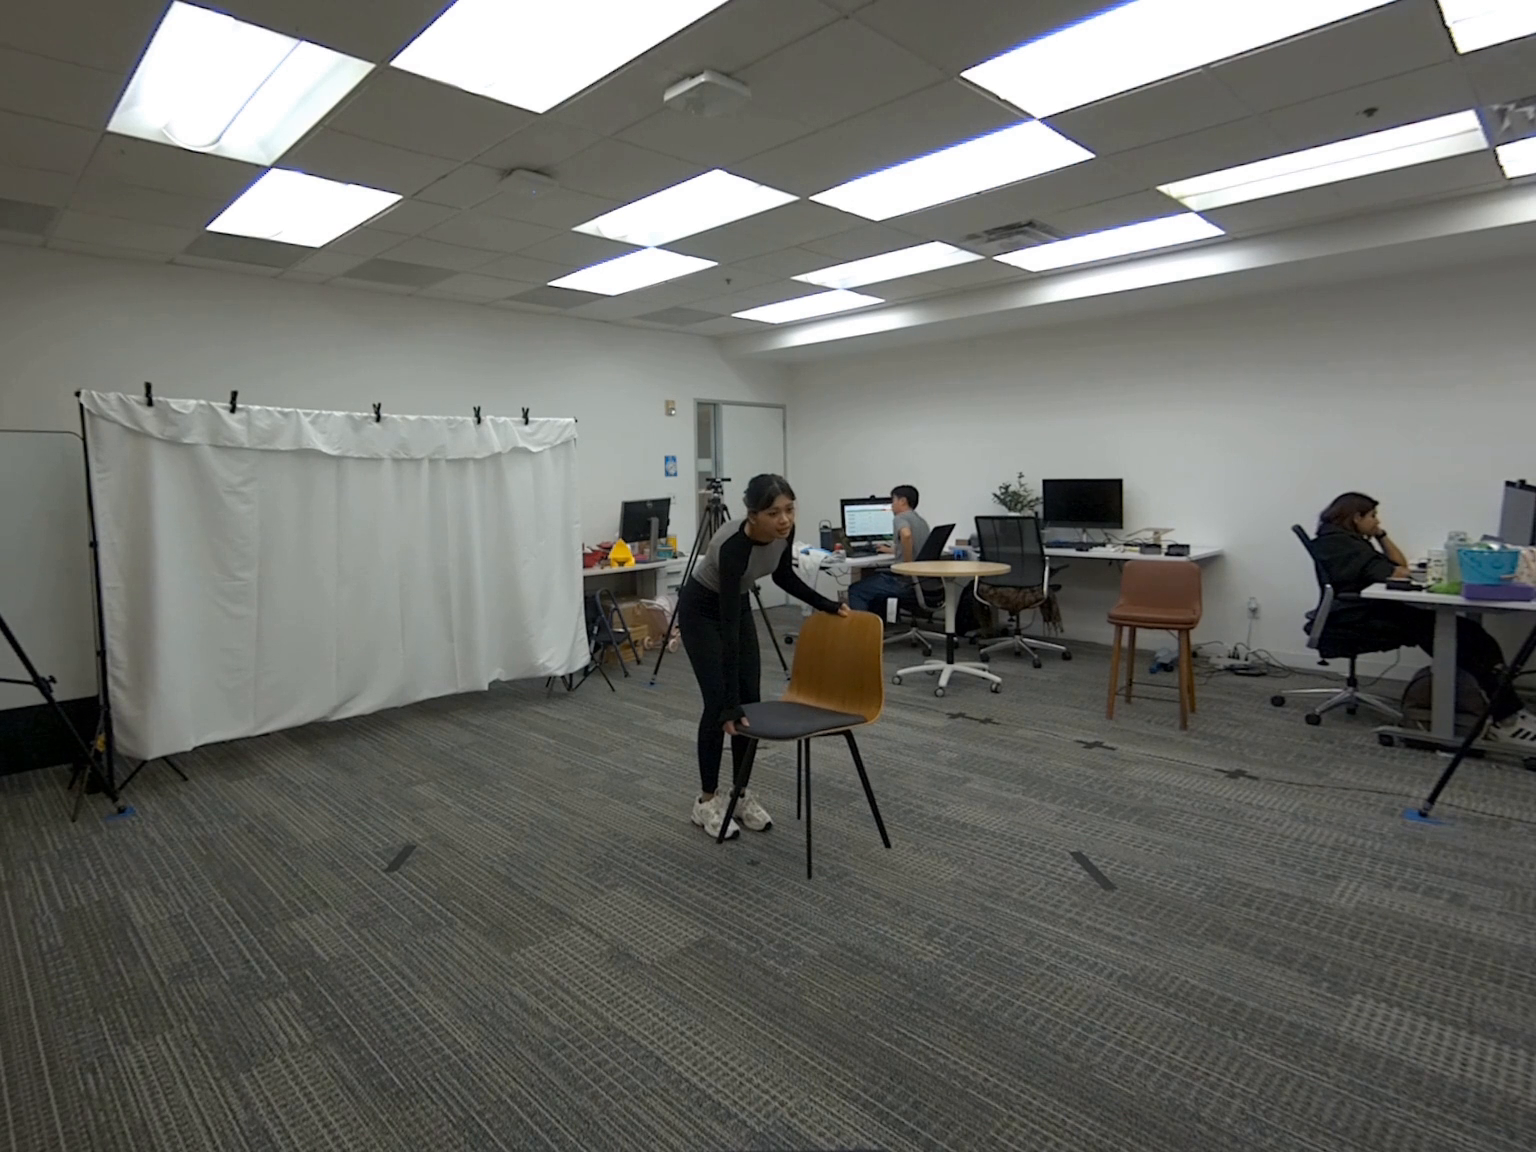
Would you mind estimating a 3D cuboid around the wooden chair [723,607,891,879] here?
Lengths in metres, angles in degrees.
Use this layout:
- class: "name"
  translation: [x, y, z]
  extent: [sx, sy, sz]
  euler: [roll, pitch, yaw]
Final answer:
- class: "wooden chair"
  translation: [0.131, 0.555, 3.102]
  extent: [0.492, 0.880, 0.506]
  euler: [0, -5, 45]
